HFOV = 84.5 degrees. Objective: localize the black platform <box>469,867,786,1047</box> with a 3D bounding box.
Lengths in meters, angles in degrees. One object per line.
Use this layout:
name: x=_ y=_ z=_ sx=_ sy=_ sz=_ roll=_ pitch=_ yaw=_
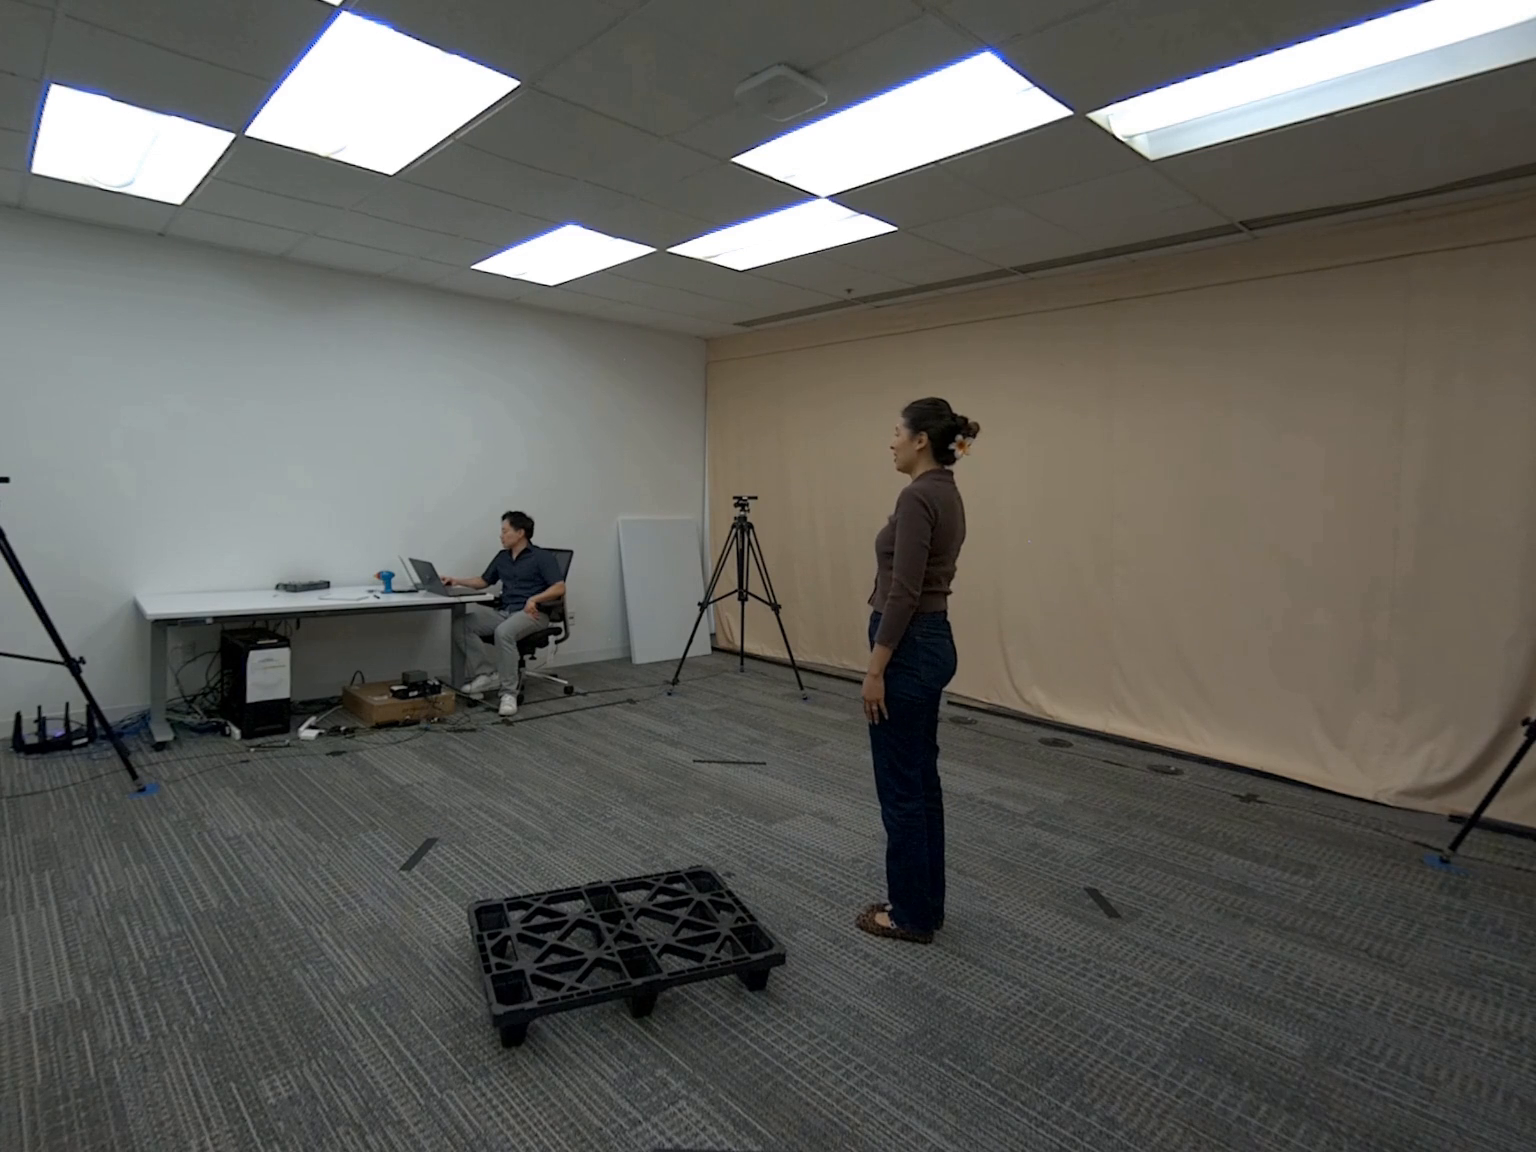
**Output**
black platform: x=-0.434 y=1.091 z=2.449 sx=0.792 sy=0.143 sz=0.618 roll=-1 pitch=7 yaw=-24
